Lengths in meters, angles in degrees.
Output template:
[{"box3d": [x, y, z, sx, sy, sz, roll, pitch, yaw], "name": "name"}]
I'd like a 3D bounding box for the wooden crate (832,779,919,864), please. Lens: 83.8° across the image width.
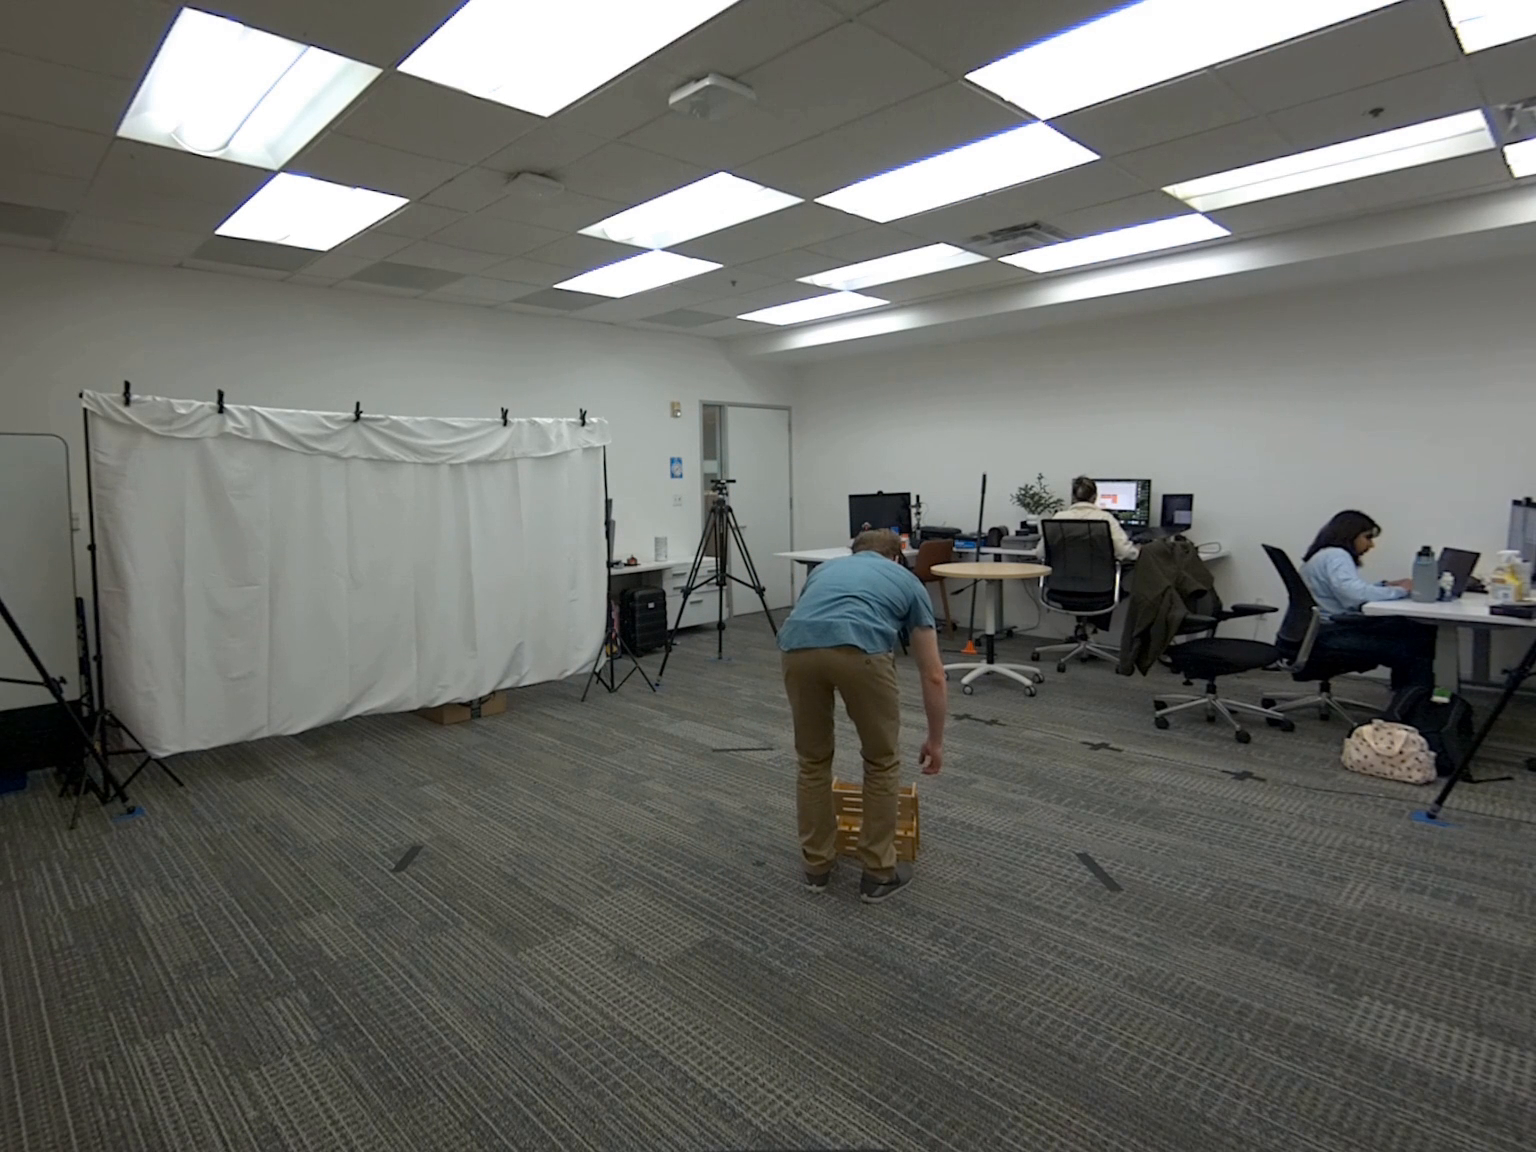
[{"box3d": [0.412, 0.894, 3.231, 0.329, 0.272, 0.299, 0, 6, 13], "name": "wooden crate"}]
